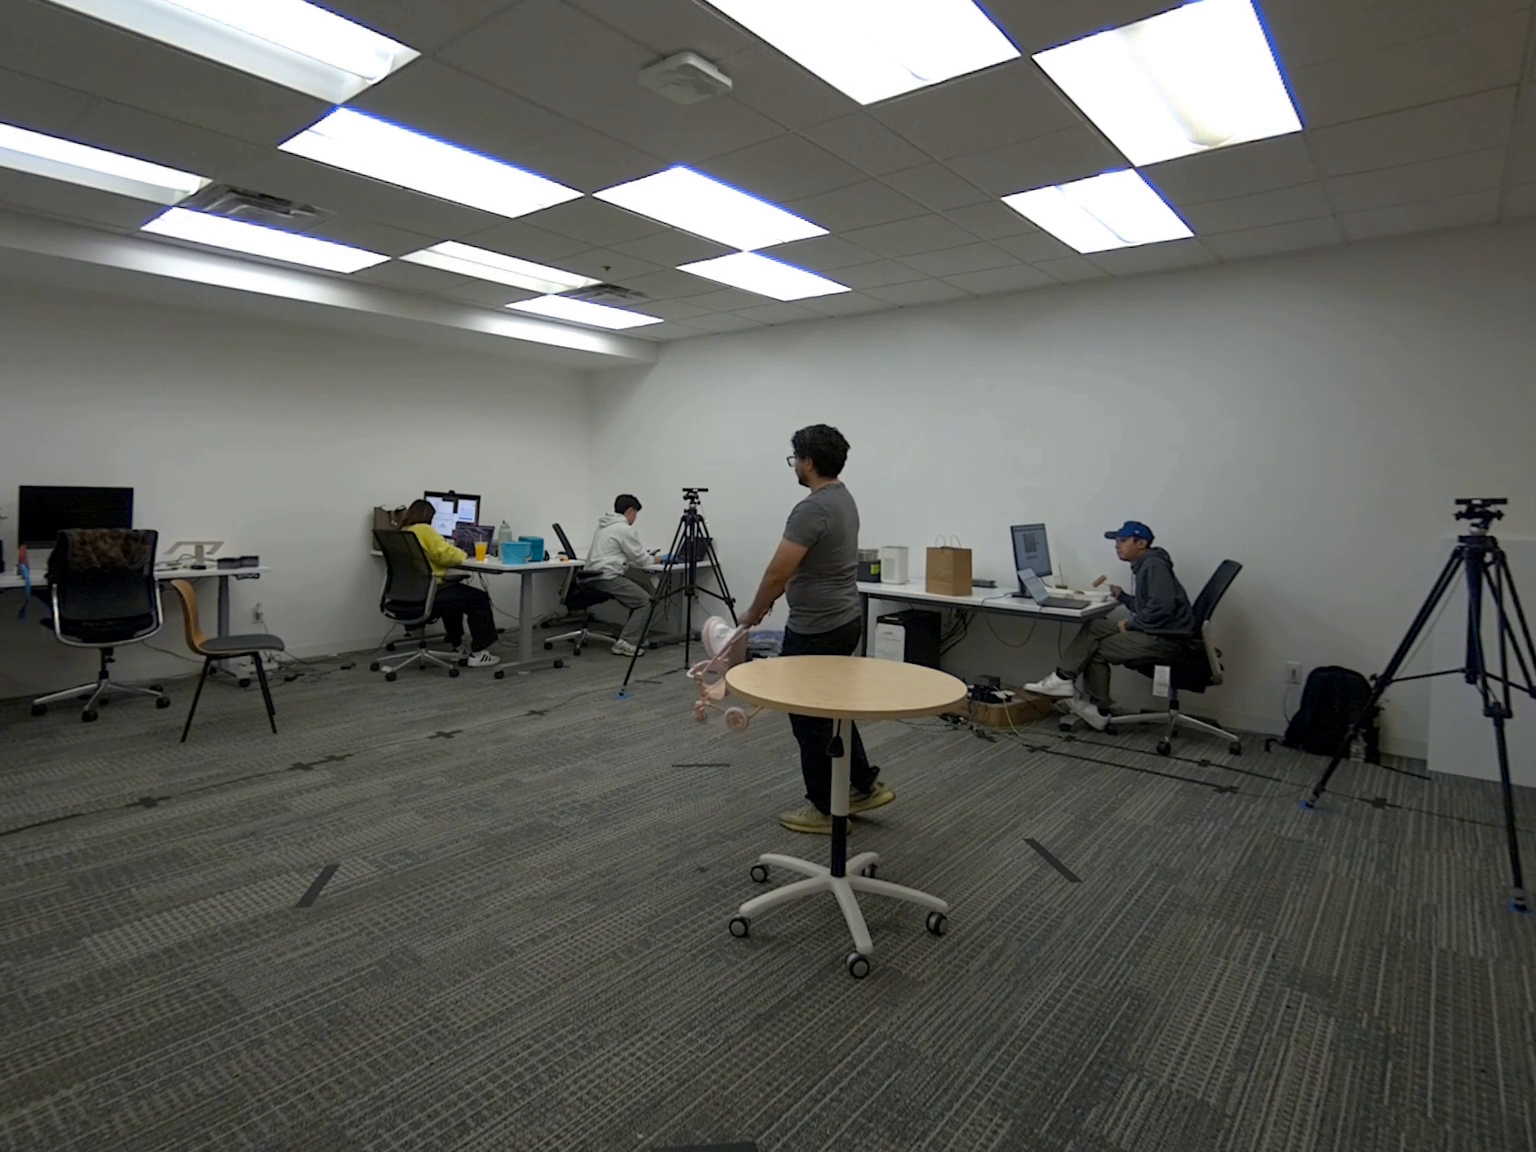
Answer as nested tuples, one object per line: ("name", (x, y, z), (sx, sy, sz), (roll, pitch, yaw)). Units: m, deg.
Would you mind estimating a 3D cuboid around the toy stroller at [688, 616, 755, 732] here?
("toy stroller", (-0.200, 0.416, 3.718), (0.351, 0.528, 0.277), (5, 15, 29))
